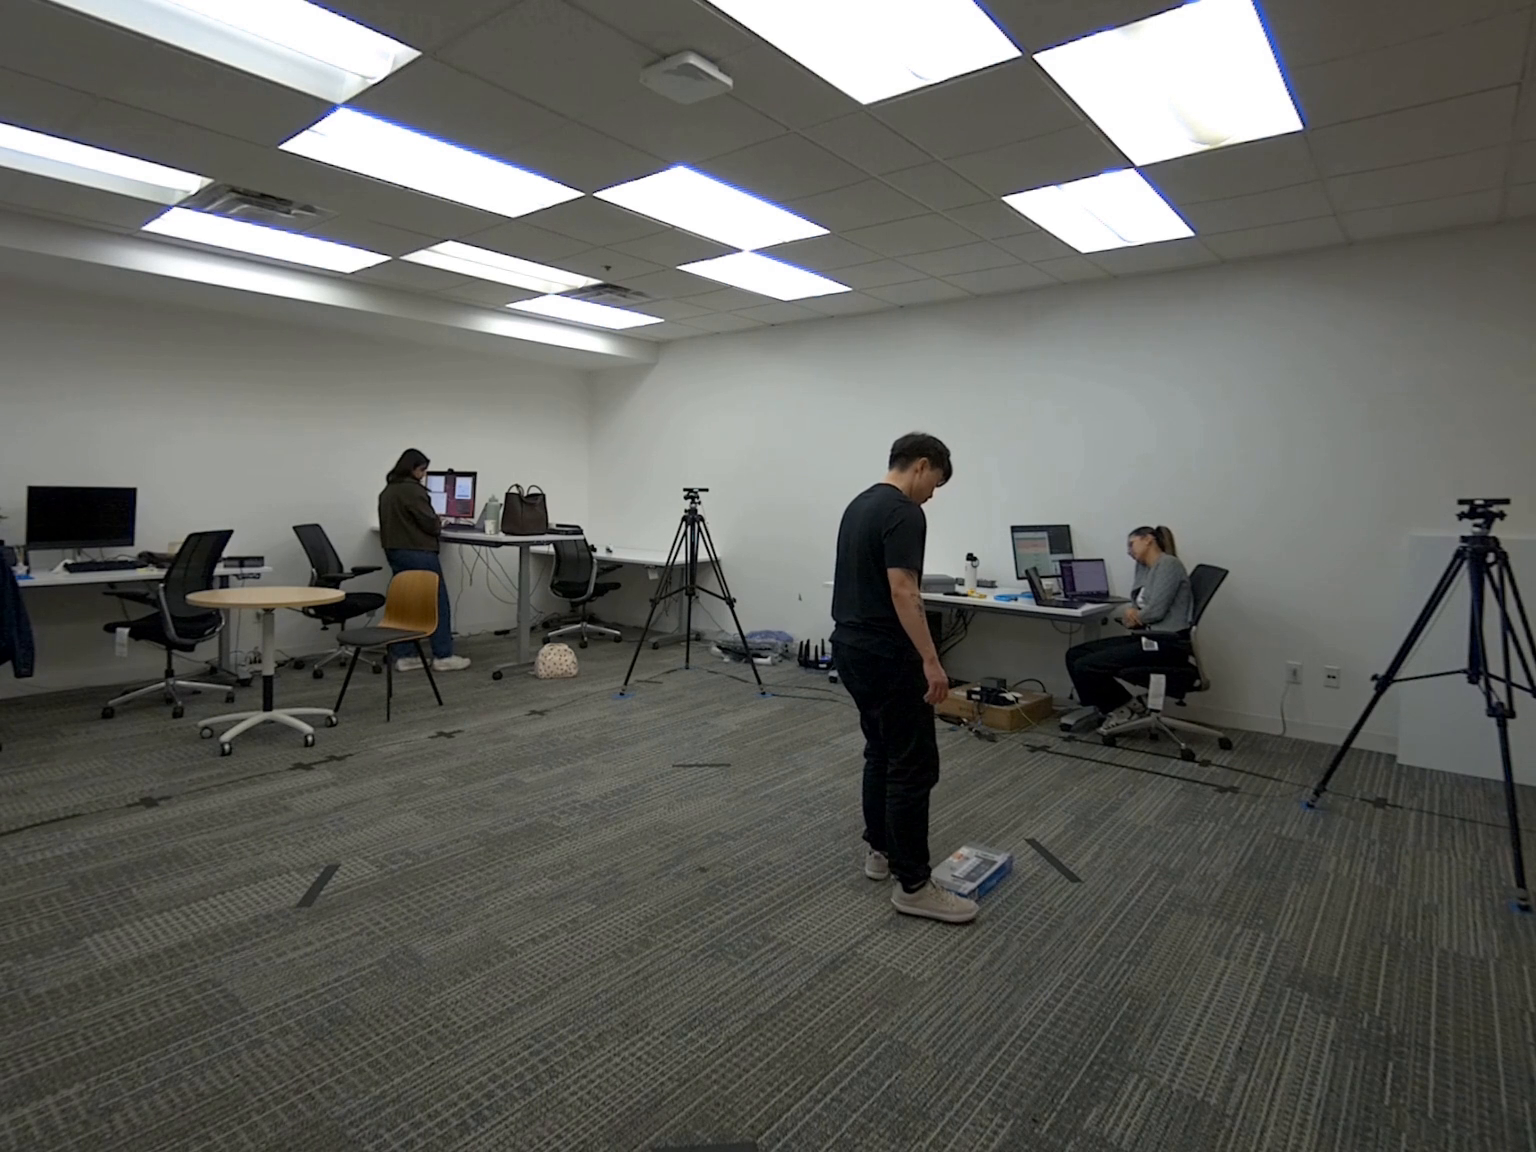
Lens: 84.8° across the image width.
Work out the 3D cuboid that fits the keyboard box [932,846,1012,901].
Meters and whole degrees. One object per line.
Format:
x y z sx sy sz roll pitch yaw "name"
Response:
0.711 1.072 3.058 0.182 0.059 0.424 5 7 37 "keyboard box"
